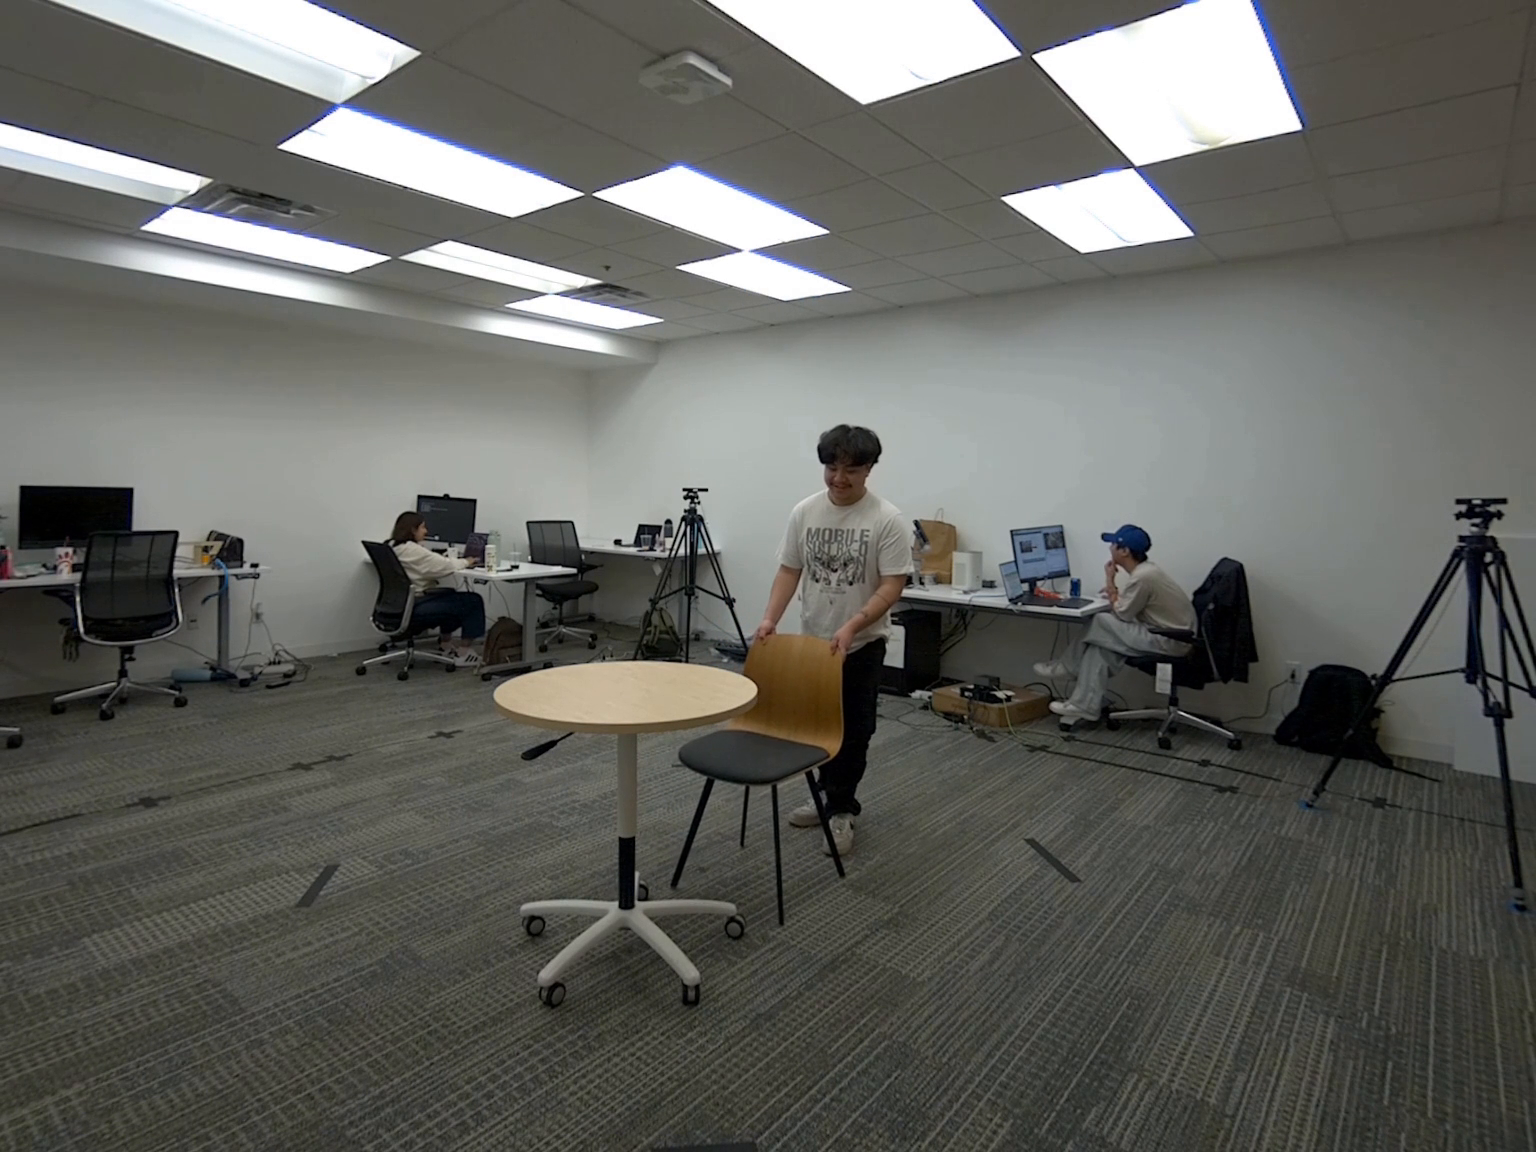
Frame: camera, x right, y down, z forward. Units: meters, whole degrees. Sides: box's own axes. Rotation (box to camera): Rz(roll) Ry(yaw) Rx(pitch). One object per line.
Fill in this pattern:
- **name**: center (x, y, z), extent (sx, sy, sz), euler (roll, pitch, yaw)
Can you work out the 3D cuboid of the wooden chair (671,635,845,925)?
- **wooden chair**: center (-0.032, 0.656, 2.988), extent (0.493, 0.878, 0.507), euler (4, -1, 33)
